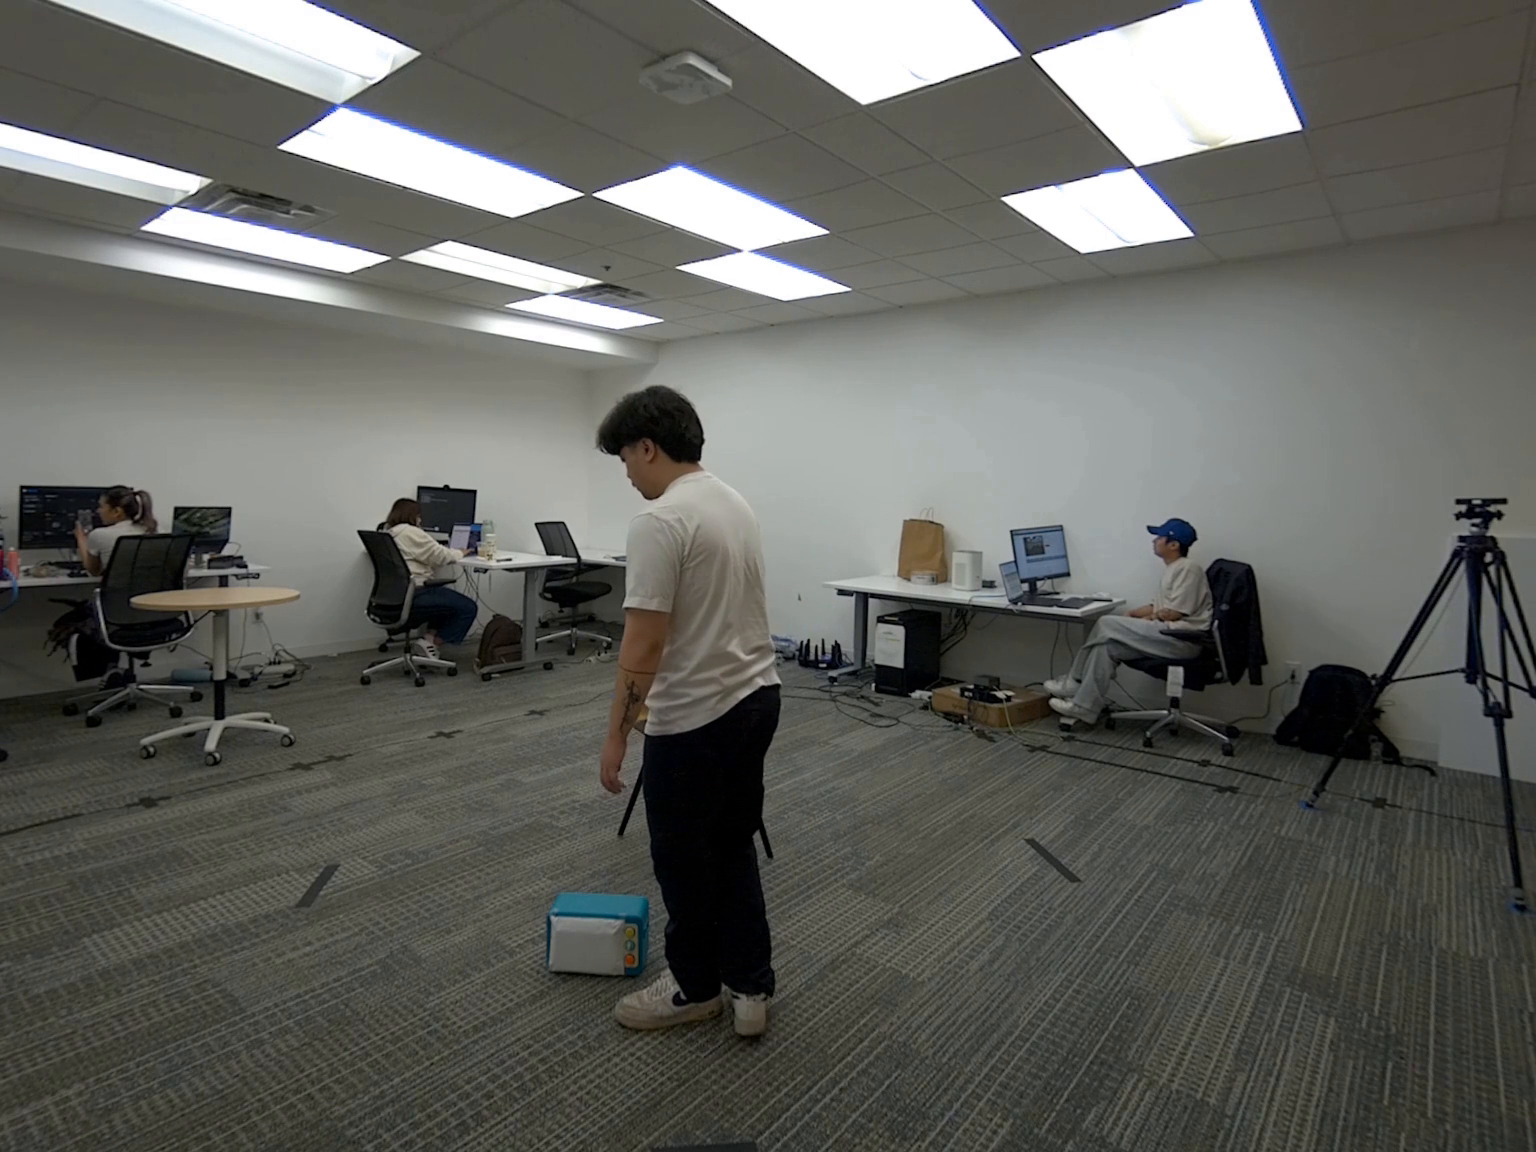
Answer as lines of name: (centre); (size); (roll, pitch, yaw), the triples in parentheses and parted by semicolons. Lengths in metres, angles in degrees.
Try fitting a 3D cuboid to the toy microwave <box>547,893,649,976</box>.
toy microwave: (-0.499, 1.036, 2.459); (0.287, 0.184, 0.152); (1, 1, 3)
